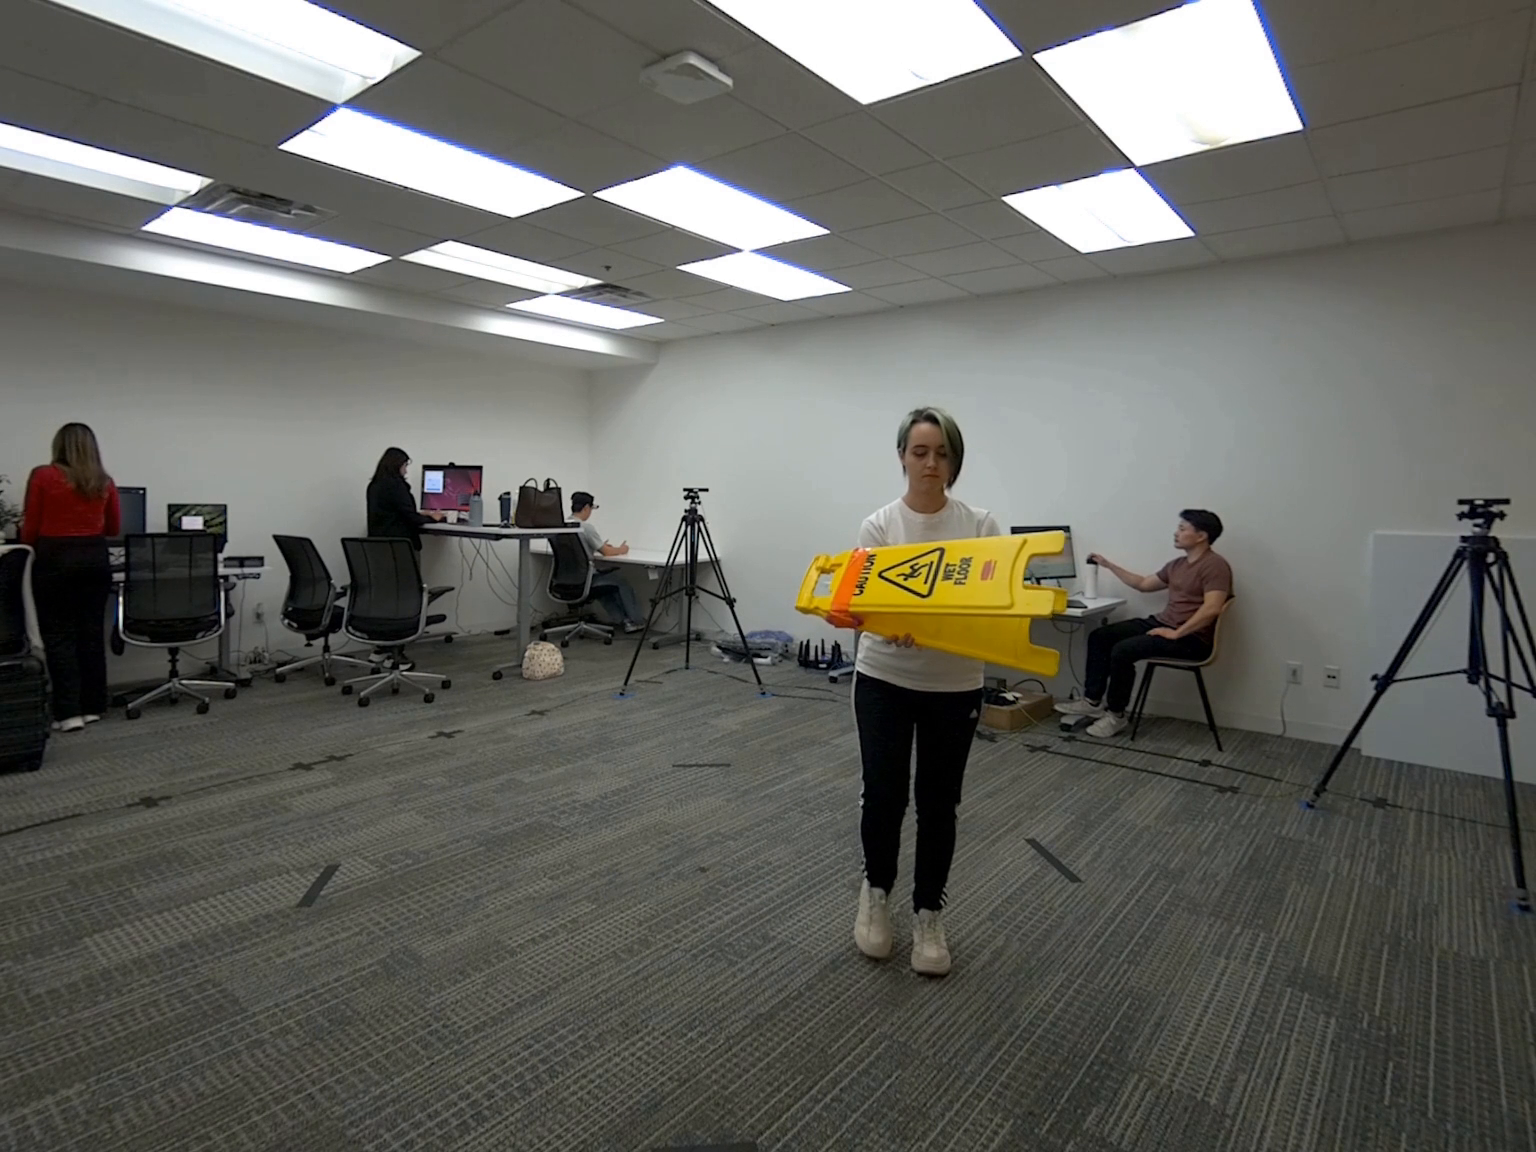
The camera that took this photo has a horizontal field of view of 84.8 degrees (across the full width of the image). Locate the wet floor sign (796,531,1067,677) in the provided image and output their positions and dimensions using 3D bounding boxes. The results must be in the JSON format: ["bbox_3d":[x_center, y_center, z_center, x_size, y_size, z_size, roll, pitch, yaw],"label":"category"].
[{"bbox_3d":[0.391,0.048,2.161,0.663,0.279,0.285,6,47,24],"label":"wet floor sign"}]
